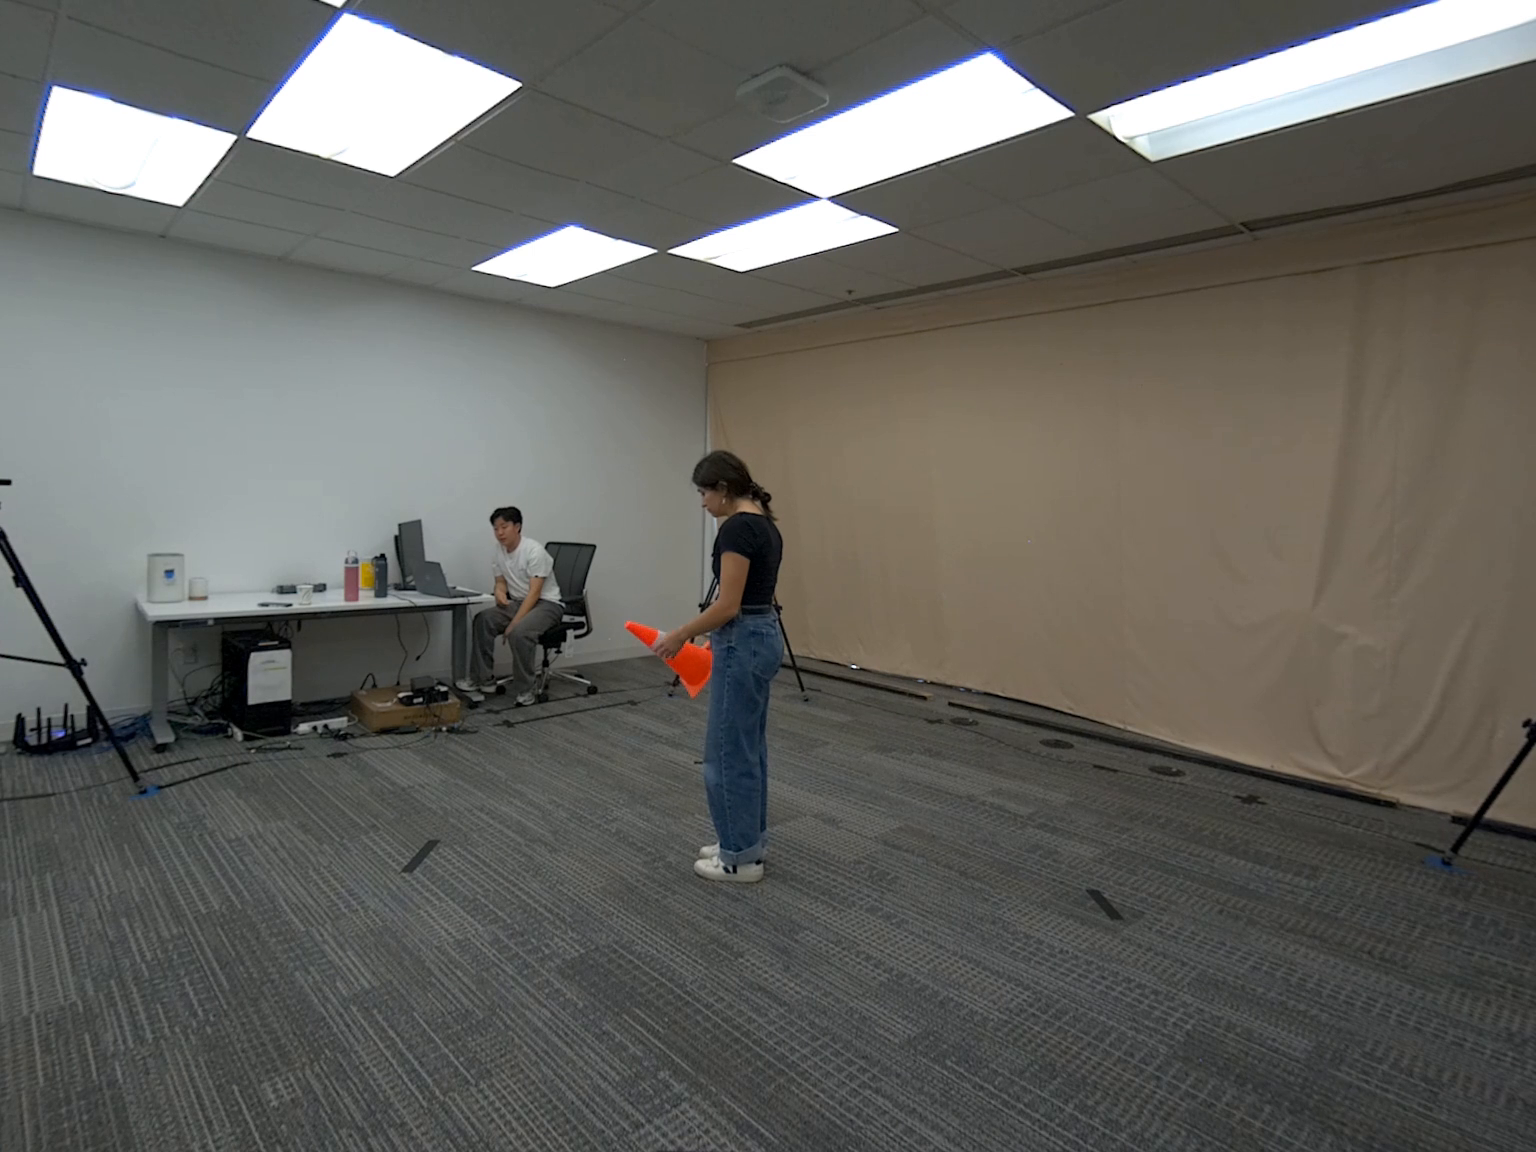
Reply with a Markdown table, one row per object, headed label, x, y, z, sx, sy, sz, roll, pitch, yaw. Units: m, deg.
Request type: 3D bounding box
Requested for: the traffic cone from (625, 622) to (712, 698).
| label | x | y | z | sx | sy | sz | roll | pitch | yaw |
| --- | --- | --- | --- | --- | --- | --- | --- | --- | --- |
| traffic cone | -0.407 | 0.280 | 3.304 | 0.373 | 0.203 | 0.210 | 35 | 5 | -29 |
